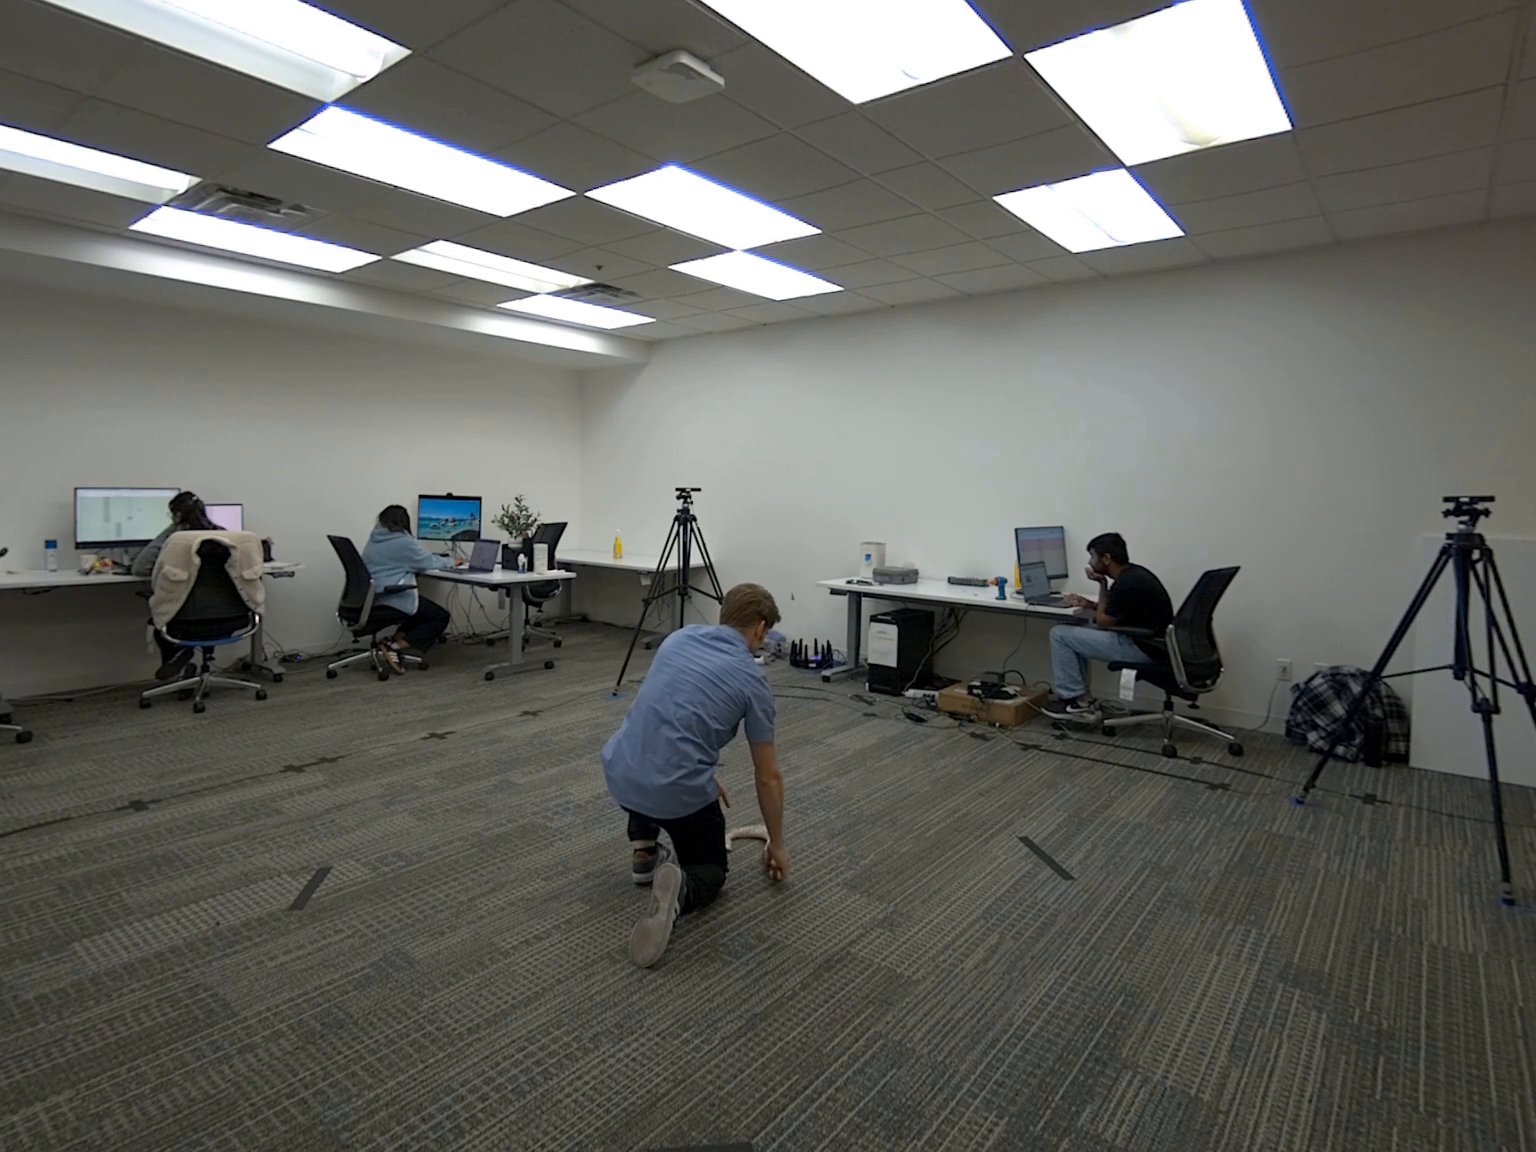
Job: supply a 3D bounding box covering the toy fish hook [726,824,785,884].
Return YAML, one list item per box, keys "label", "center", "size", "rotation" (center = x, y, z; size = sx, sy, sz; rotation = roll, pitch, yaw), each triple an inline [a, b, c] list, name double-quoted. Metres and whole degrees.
- label: "toy fish hook"
  center: [-0.065, 1.035, 3.196]
  size: [0.223, 0.048, 0.510]
  rotation: [-7, 3, -7]
